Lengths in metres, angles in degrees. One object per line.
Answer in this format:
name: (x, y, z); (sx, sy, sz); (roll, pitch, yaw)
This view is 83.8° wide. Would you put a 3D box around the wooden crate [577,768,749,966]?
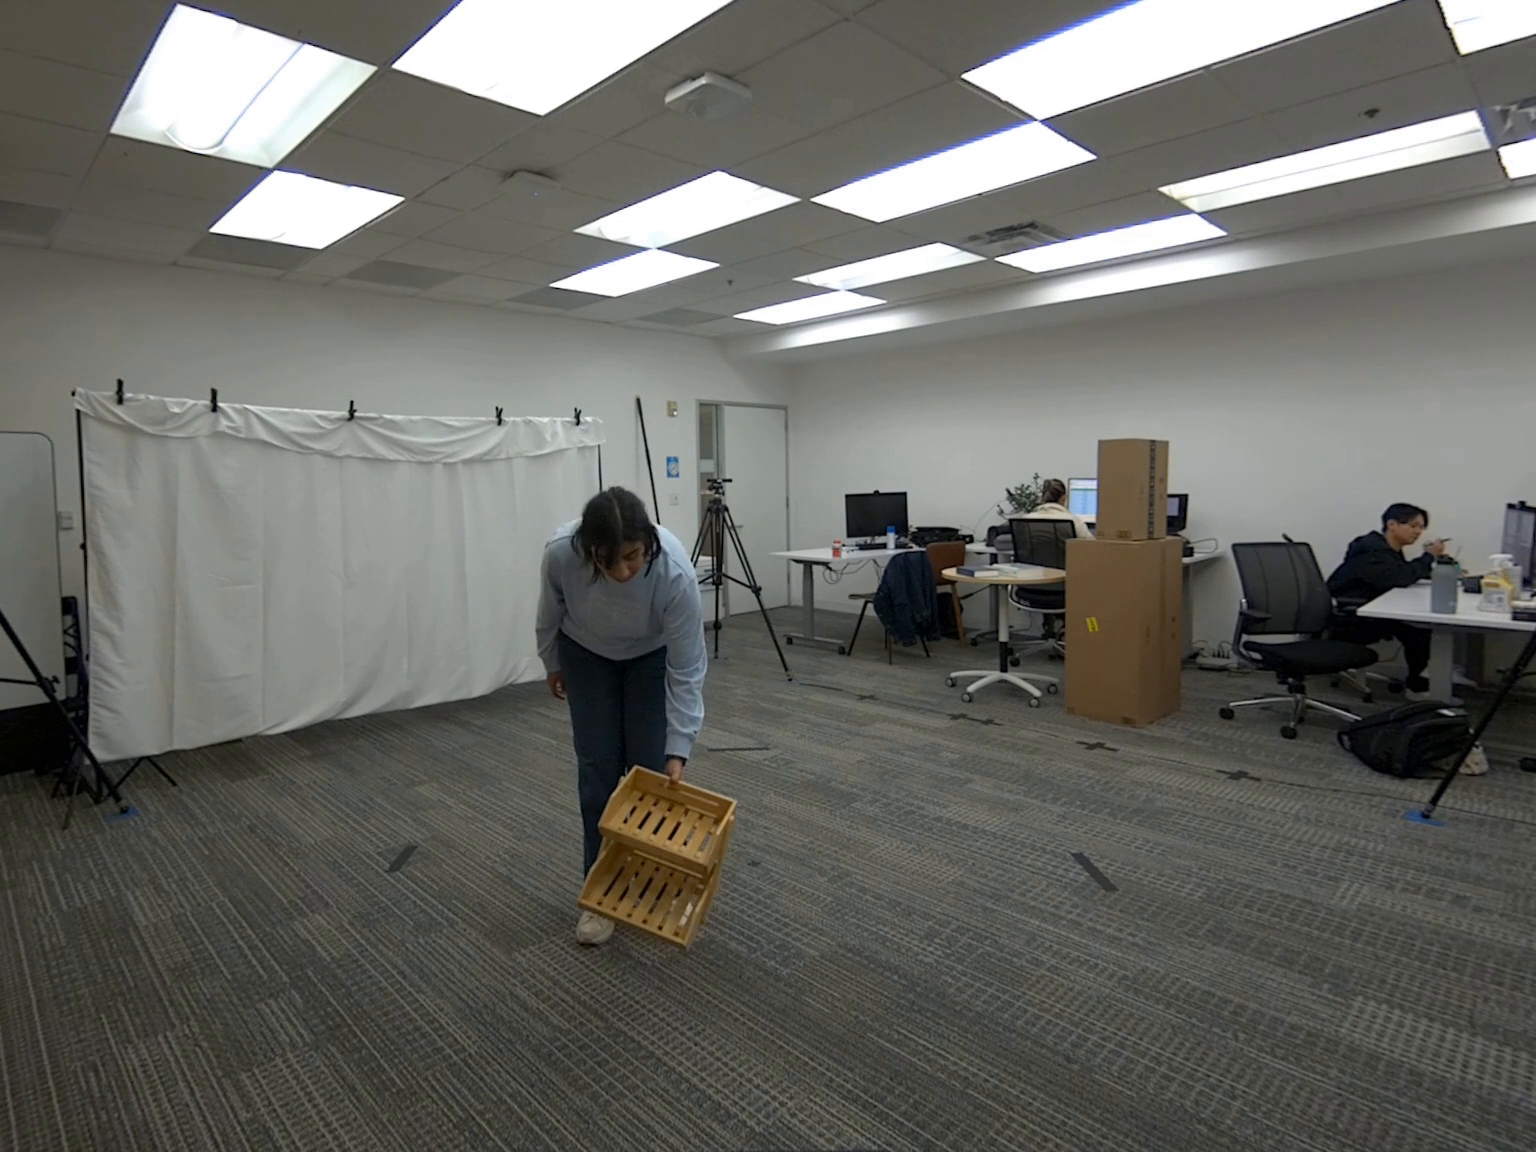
wooden crate: (-0.264, 0.726, 2.196); (0.329, 0.270, 0.301); (13, 18, 12)
